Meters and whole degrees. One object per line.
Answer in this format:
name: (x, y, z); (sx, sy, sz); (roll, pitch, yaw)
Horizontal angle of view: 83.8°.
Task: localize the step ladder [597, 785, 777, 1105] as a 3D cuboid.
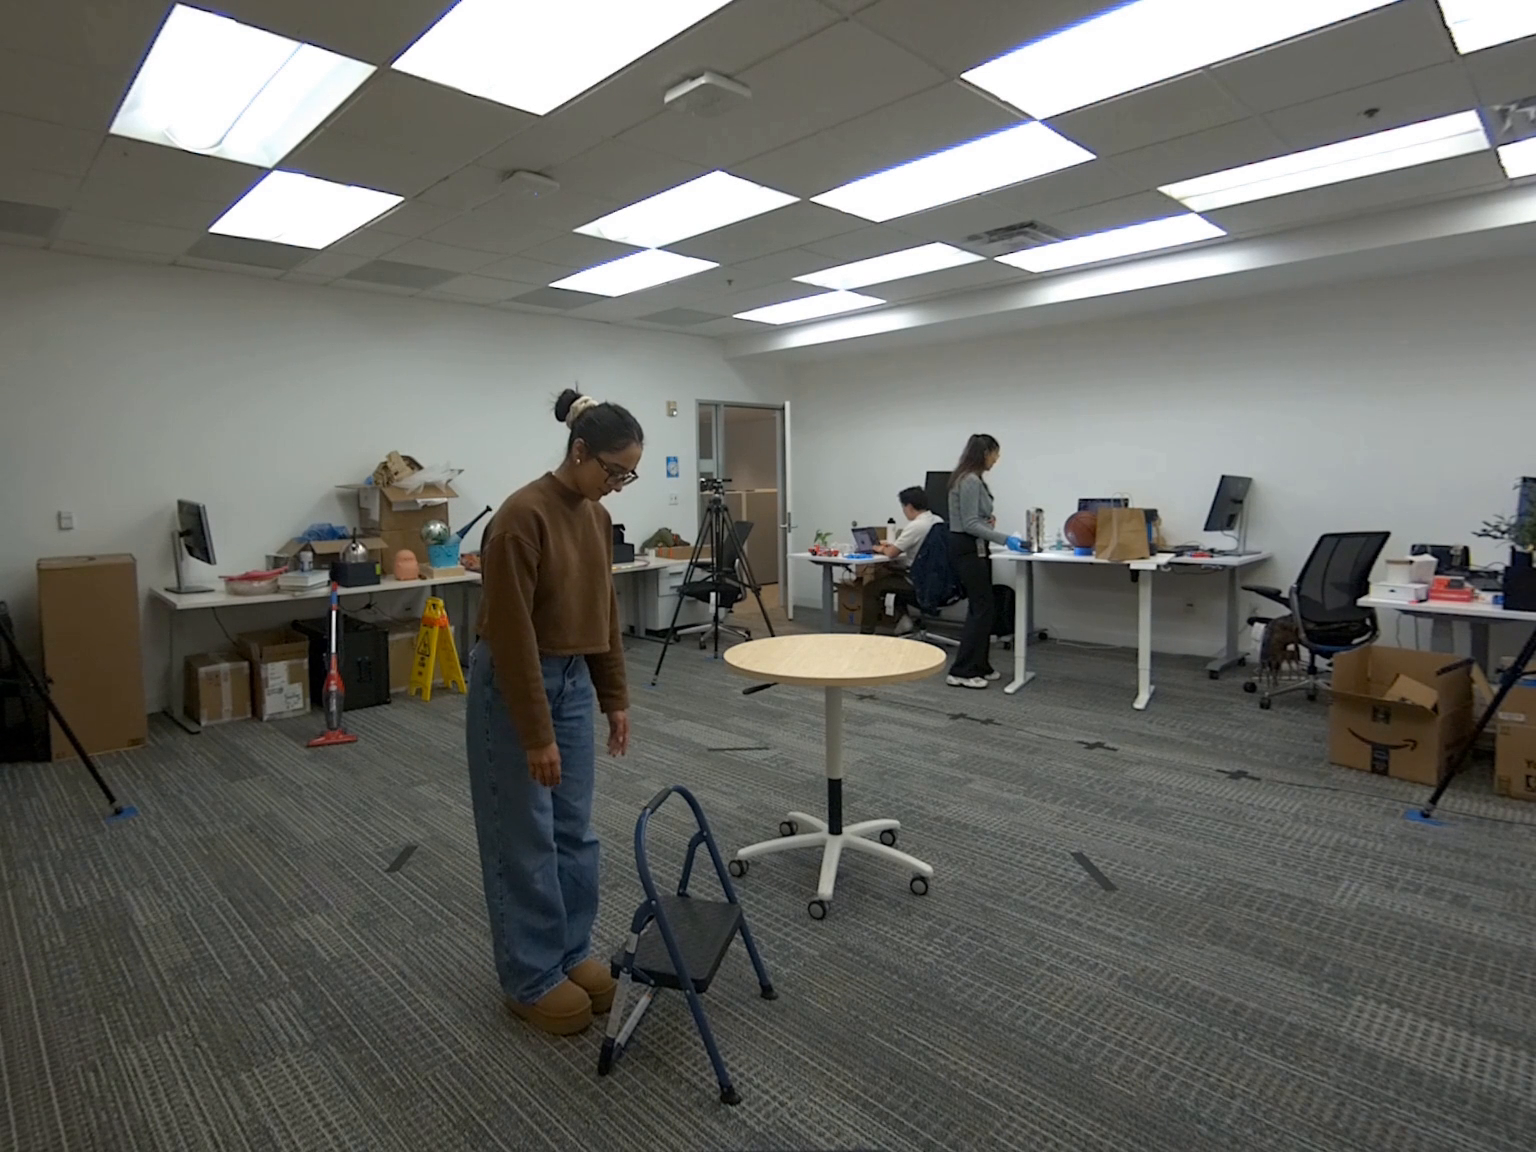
step ladder: (-0.196, 0.853, 2.150); (0.354, 0.604, 0.426); (-1, 4, 15)
